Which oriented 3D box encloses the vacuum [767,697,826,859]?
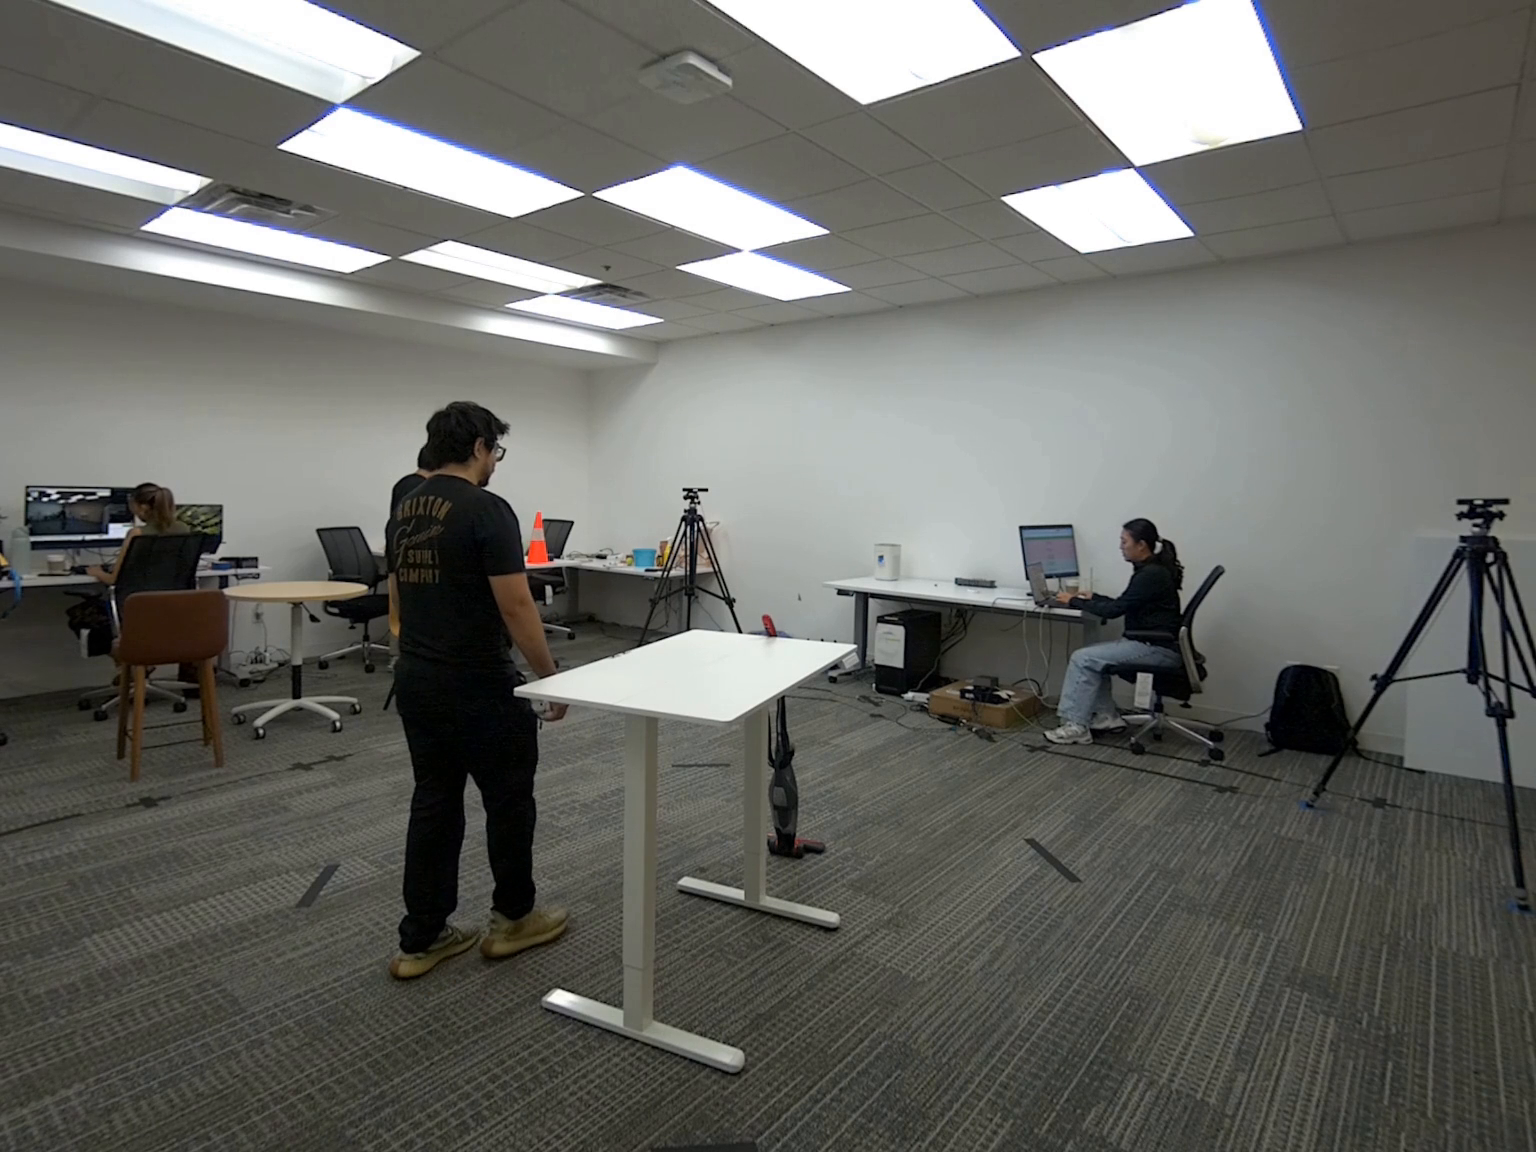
[{"bbox_3d":[0.033,0.600,3.075,0.258,1.023,0.145,2,27,19],"label":"vacuum"}]
